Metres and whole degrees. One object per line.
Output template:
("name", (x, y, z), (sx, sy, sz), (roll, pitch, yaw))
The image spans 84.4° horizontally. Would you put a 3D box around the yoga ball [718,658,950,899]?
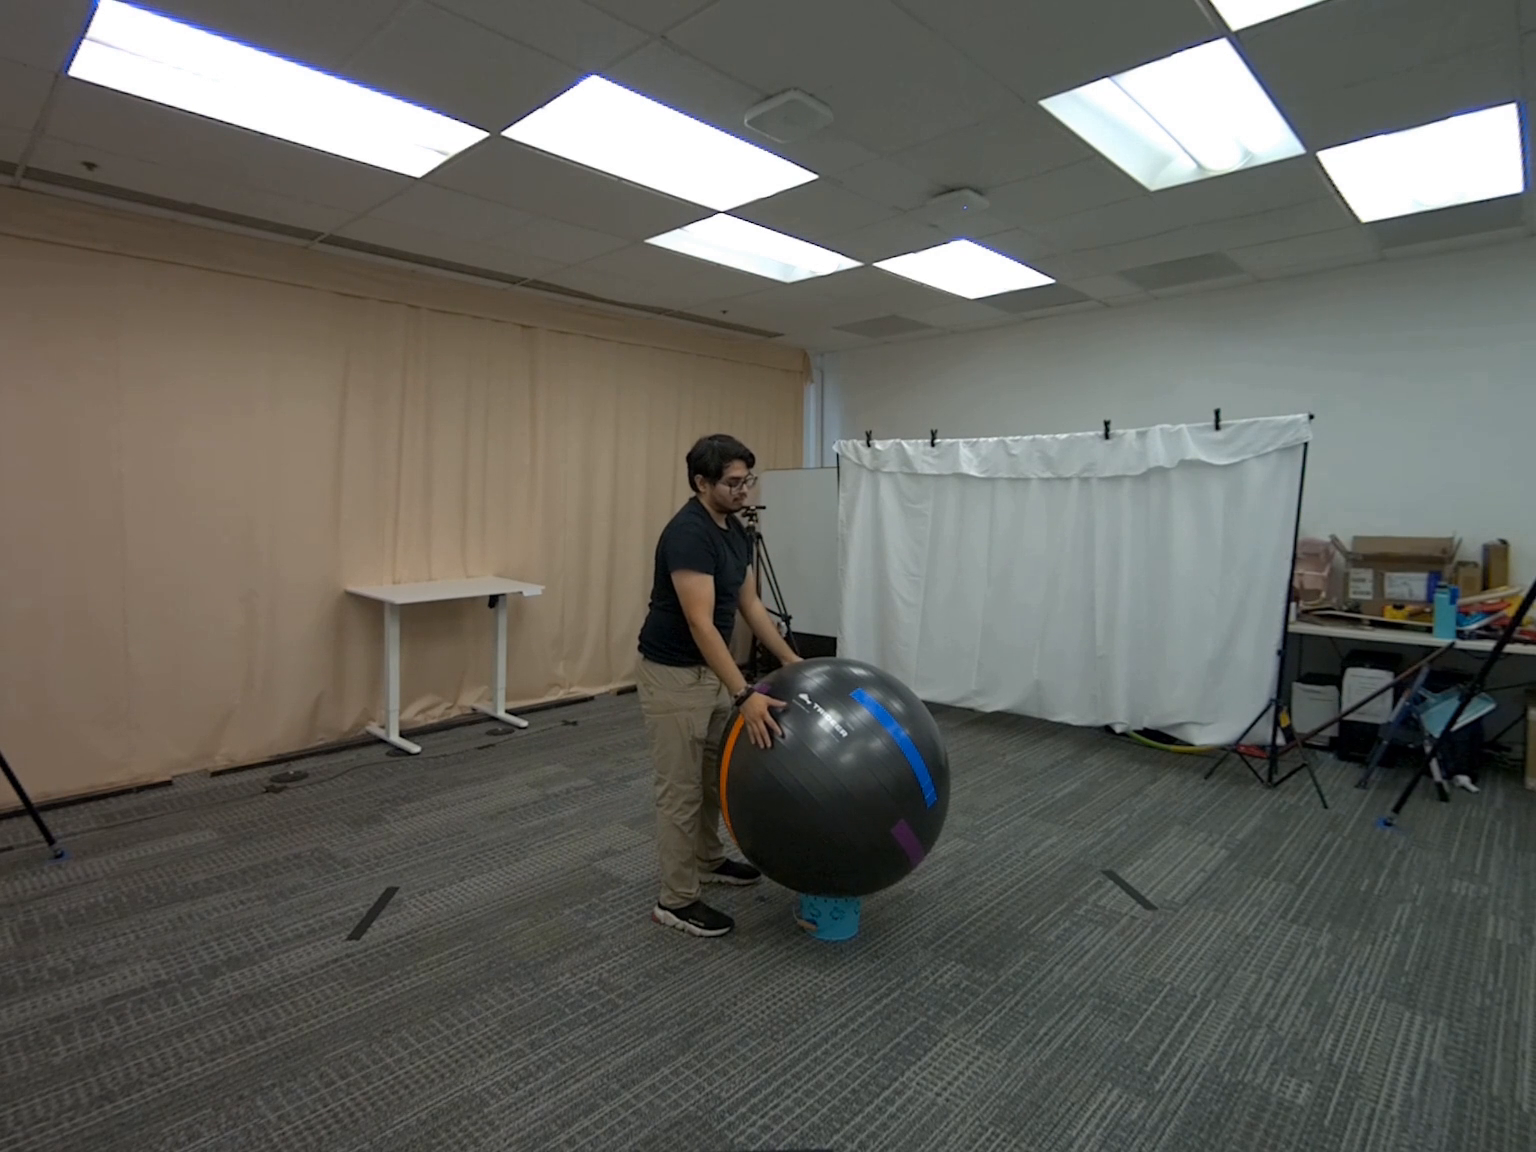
("yoga ball", (0.223, 0.658, 2.758), (0.757, 0.756, 0.761), (0, 4, -2))
